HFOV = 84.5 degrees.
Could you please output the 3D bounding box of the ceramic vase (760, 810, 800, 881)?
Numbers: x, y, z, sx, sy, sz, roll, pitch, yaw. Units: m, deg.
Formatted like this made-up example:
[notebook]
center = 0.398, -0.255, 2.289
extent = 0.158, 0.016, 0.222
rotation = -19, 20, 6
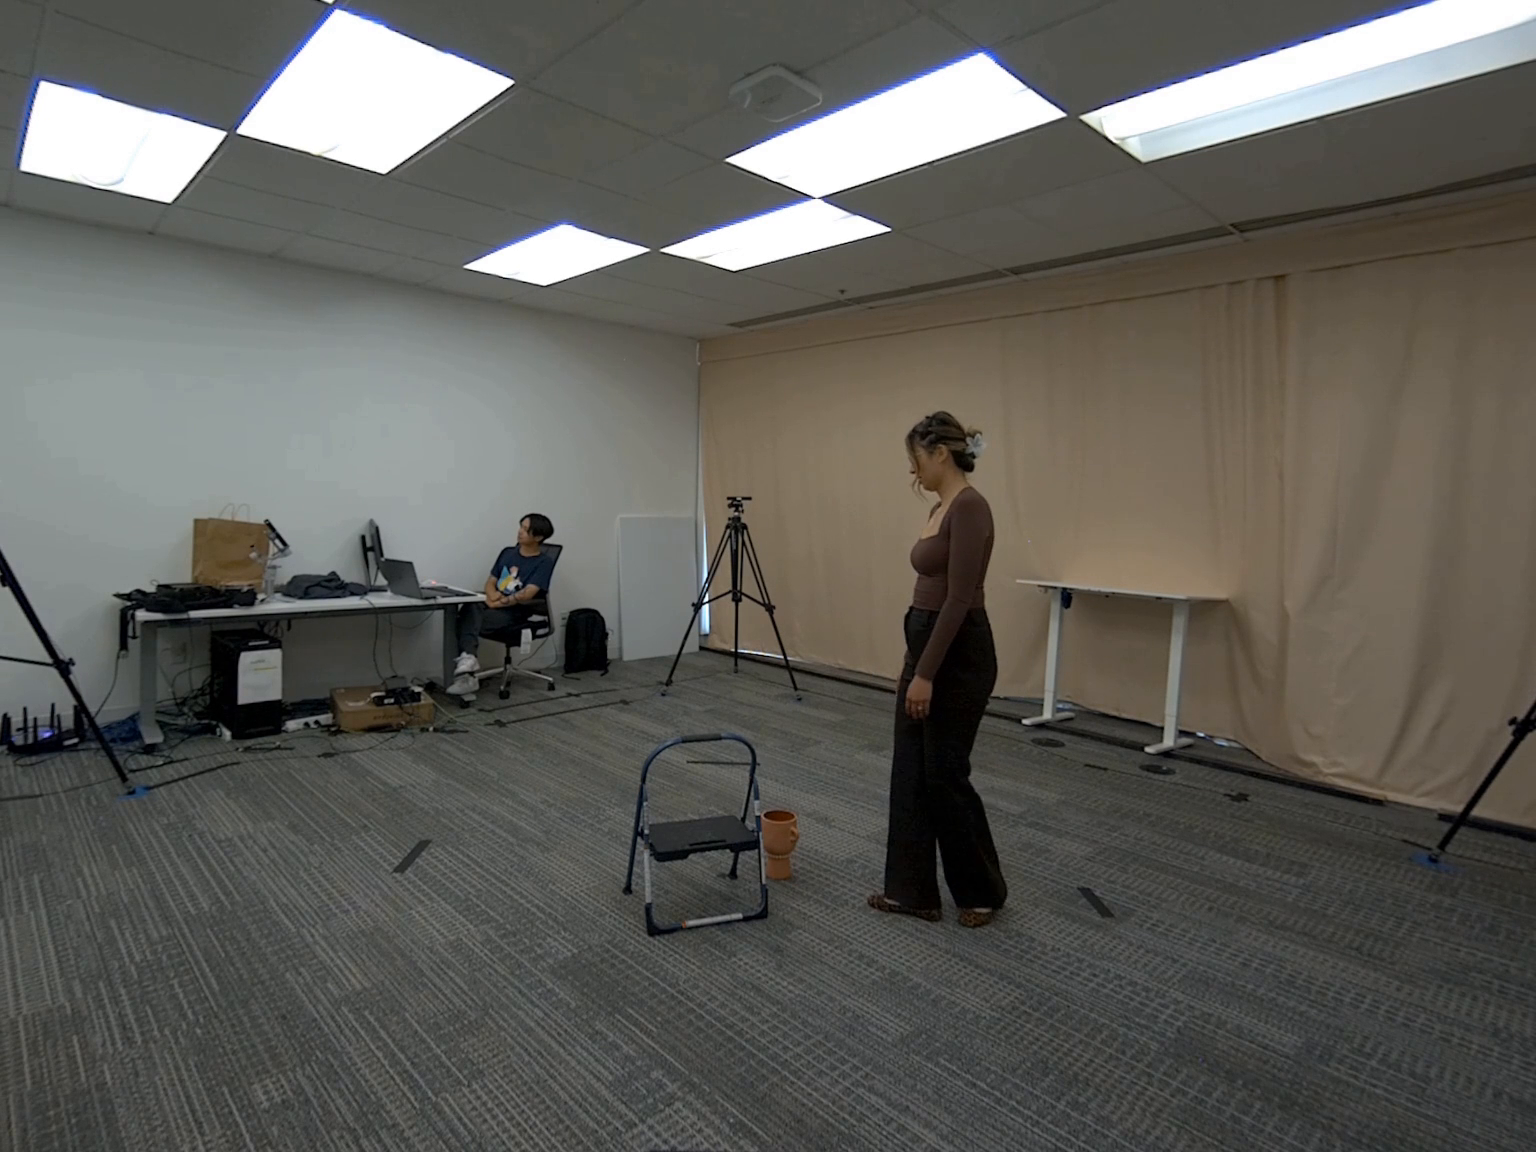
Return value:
[ceramic vase]
center = 0.032, 0.991, 3.121
extent = 0.134, 0.219, 0.160
rotation = 1, 4, -9
